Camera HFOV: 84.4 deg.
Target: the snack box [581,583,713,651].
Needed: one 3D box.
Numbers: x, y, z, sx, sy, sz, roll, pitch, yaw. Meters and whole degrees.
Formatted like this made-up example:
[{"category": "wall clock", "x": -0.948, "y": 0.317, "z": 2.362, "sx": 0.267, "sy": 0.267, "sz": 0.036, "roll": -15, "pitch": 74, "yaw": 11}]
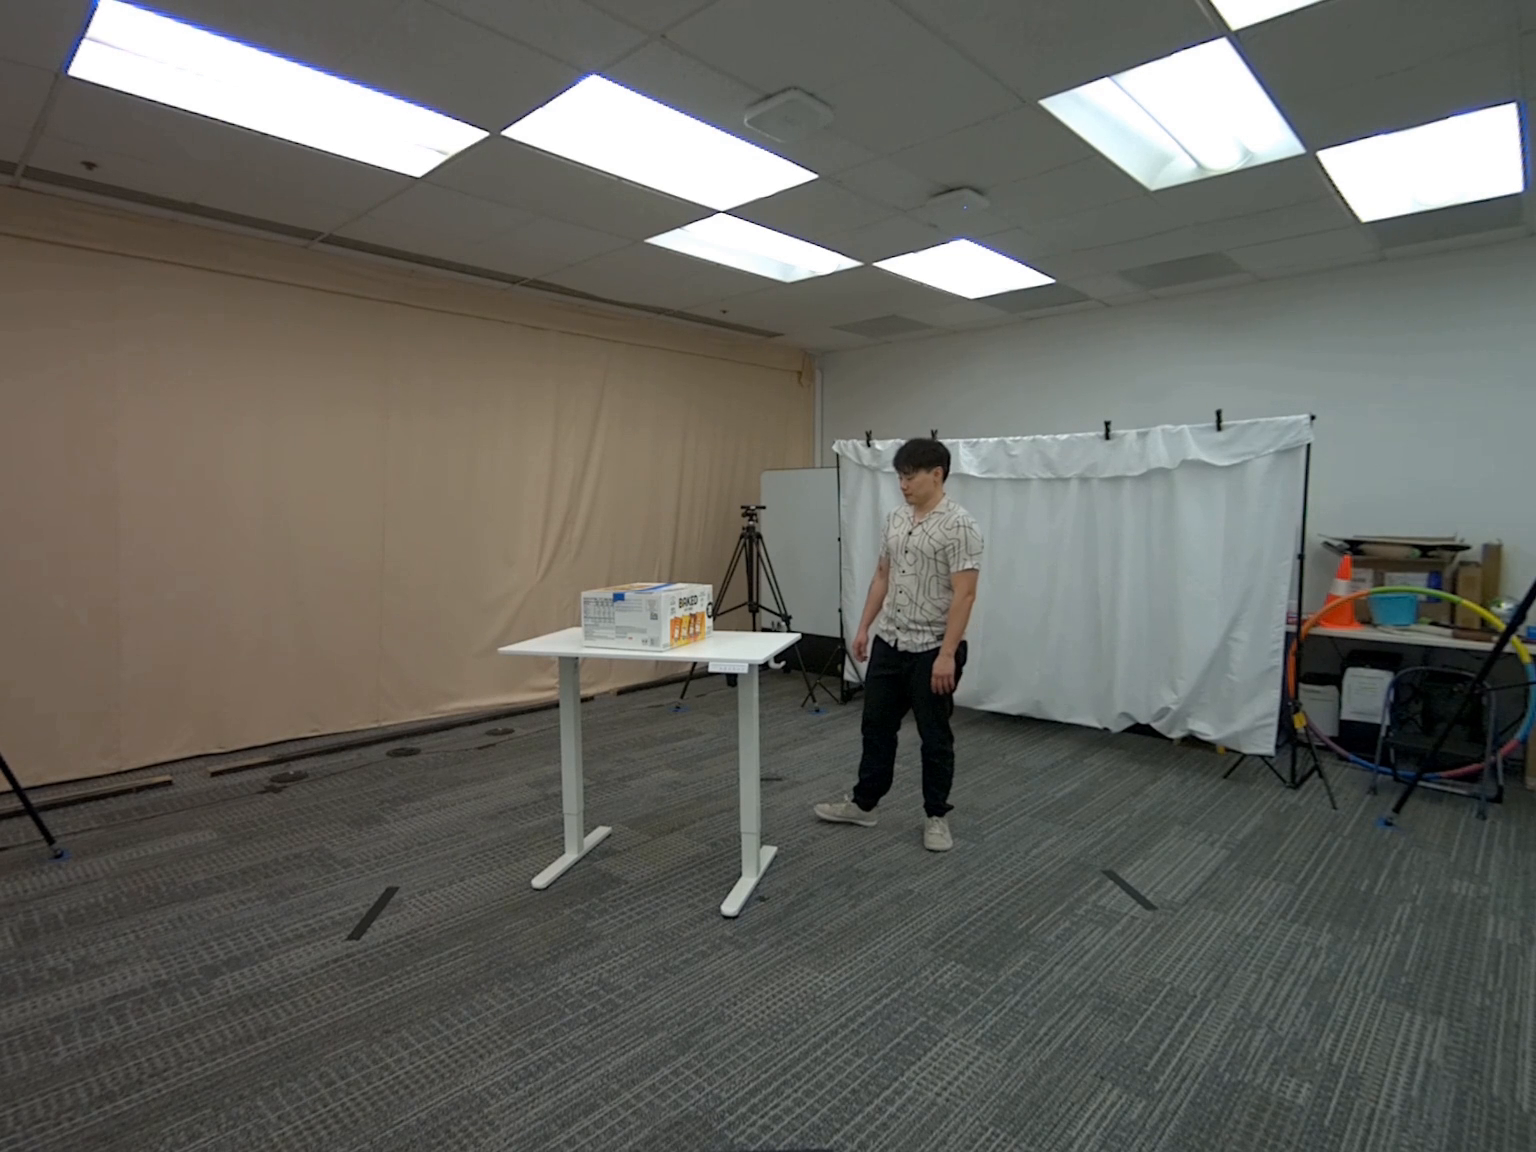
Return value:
[{"category": "snack box", "x": -0.445, "y": 0.147, "z": 3.177, "sx": 0.349, "sy": 0.205, "sz": 0.396, "roll": 1, "pitch": 4, "yaw": 24}]
